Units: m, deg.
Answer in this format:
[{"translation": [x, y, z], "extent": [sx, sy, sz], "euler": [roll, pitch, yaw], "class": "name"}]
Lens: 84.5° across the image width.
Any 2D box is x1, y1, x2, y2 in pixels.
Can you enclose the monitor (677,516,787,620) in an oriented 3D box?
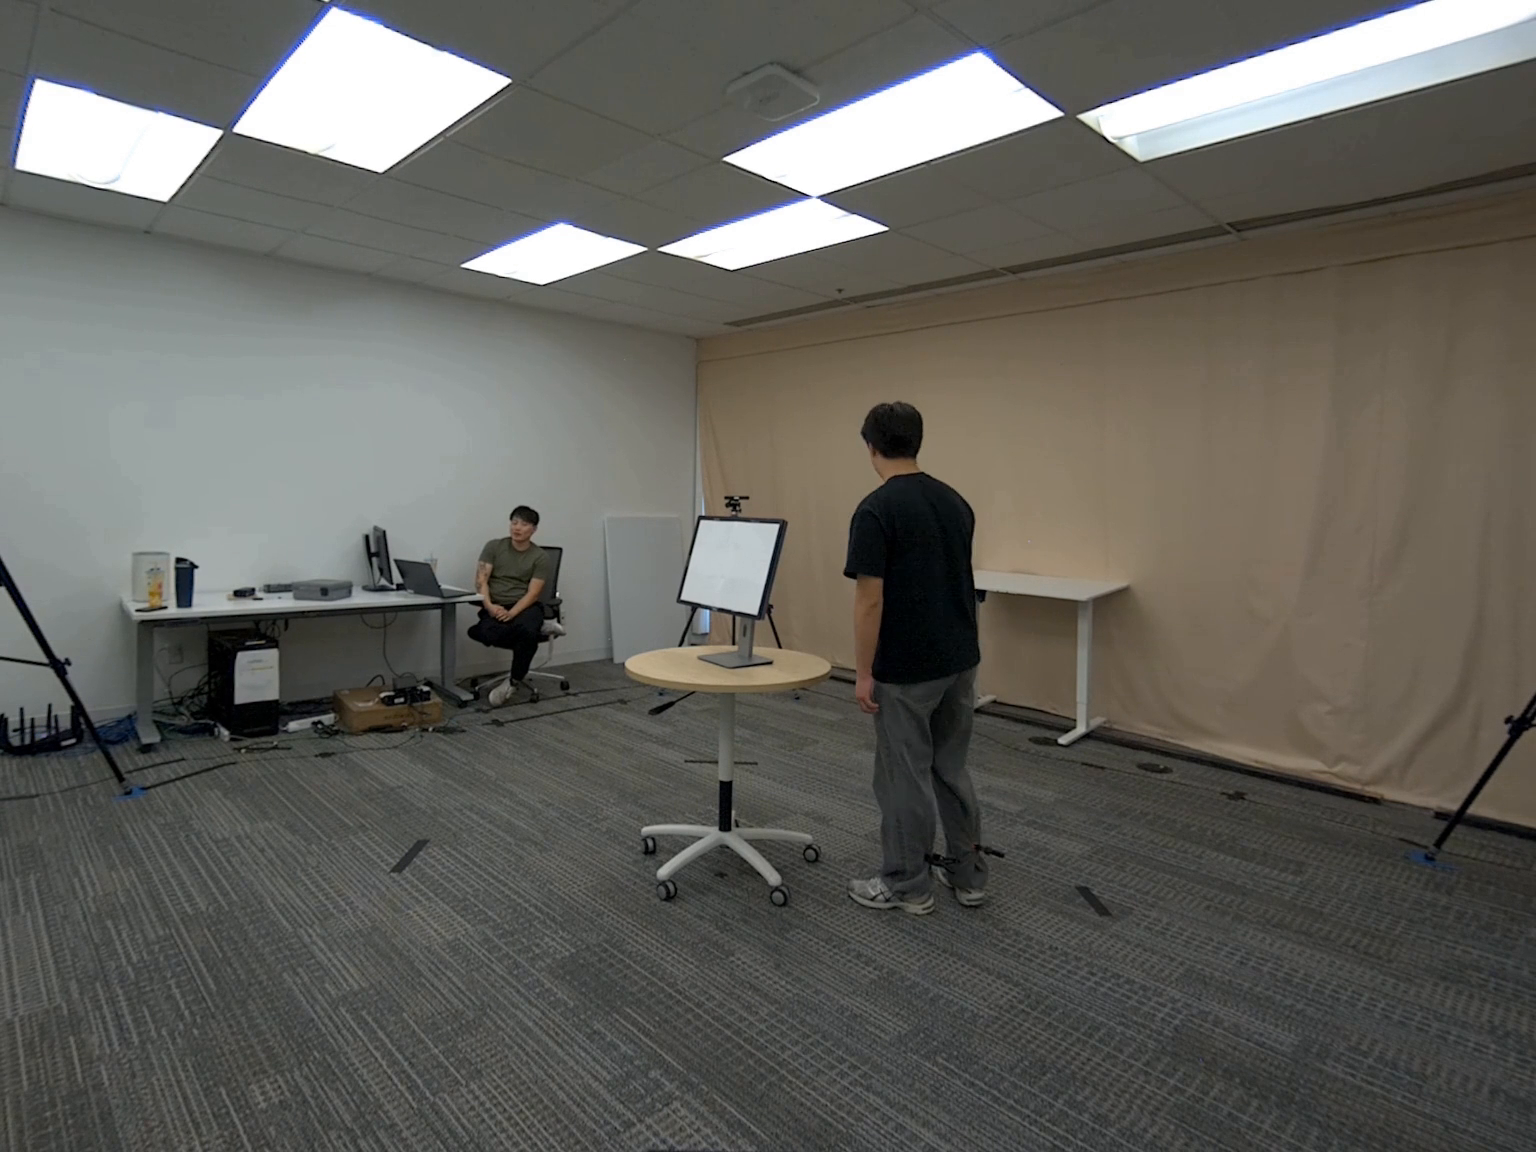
[{"translation": [-0.127, 0.062, 3.168], "extent": [0.217, 0.564, 0.575], "euler": [-2, 4, -33], "class": "monitor"}]
